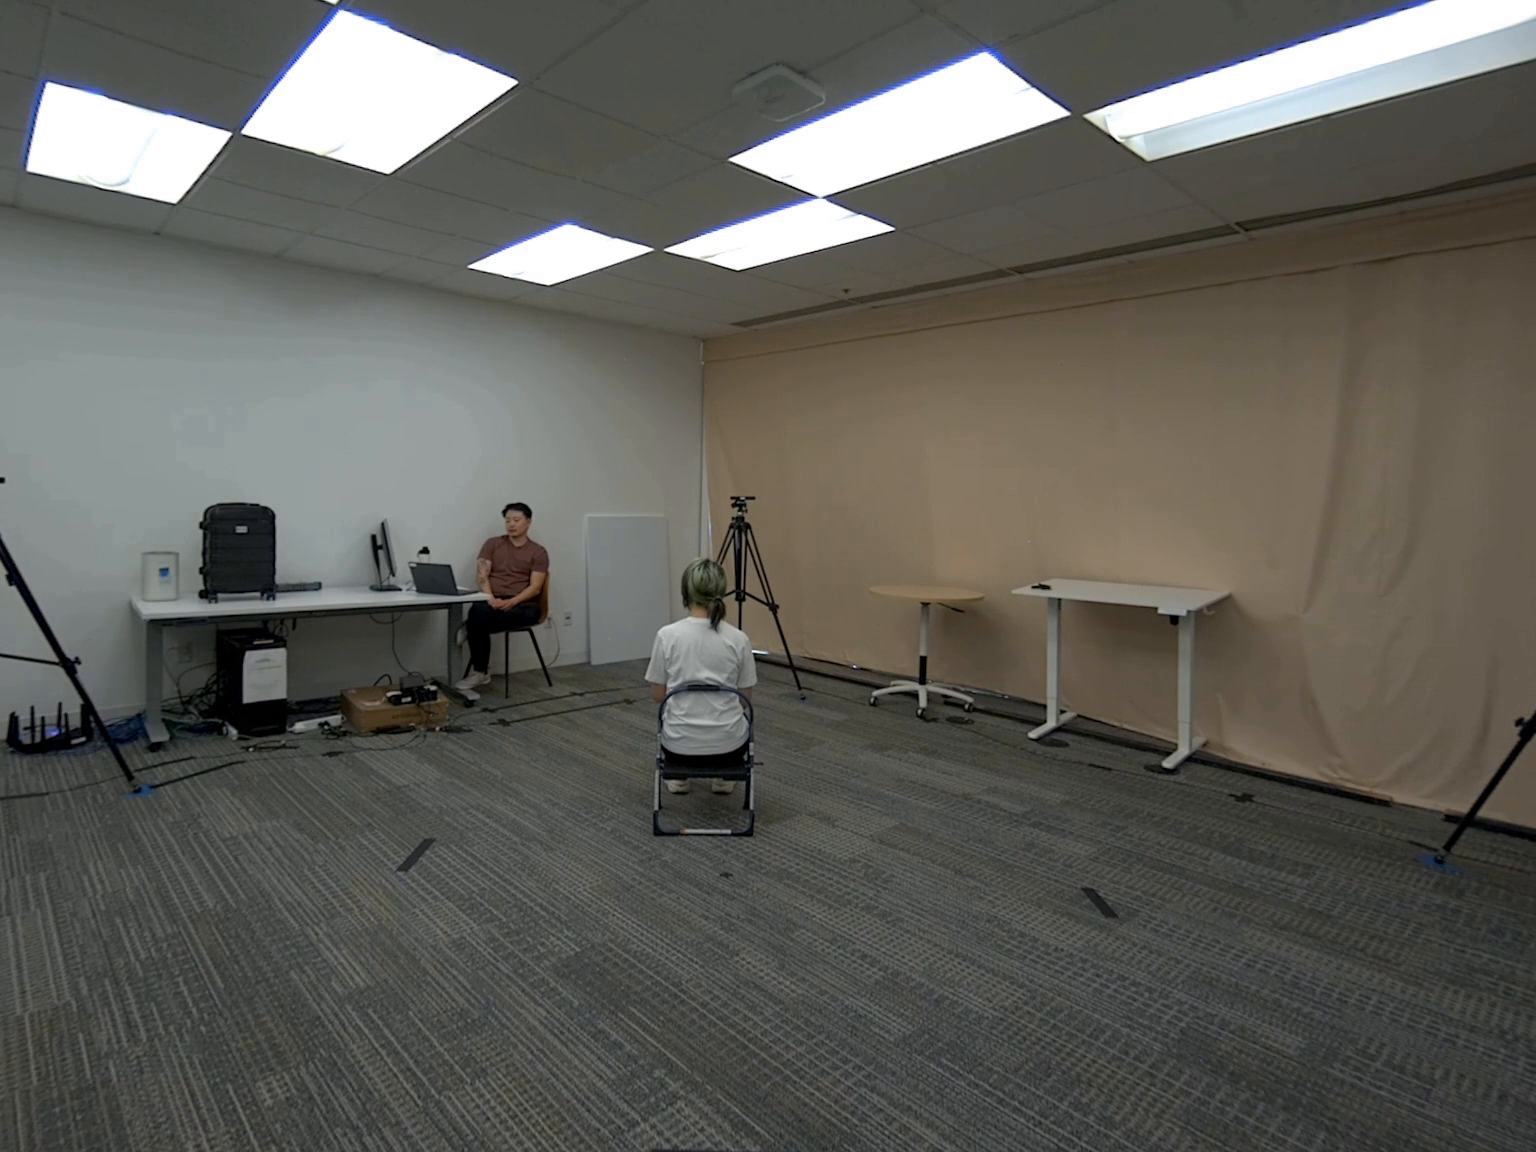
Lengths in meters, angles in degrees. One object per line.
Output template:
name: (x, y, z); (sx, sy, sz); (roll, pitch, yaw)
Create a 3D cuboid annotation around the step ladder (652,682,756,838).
step ladder: (-0.285, 0.761, 3.612); (0.429, 0.605, 0.351); (1, 2, -4)
